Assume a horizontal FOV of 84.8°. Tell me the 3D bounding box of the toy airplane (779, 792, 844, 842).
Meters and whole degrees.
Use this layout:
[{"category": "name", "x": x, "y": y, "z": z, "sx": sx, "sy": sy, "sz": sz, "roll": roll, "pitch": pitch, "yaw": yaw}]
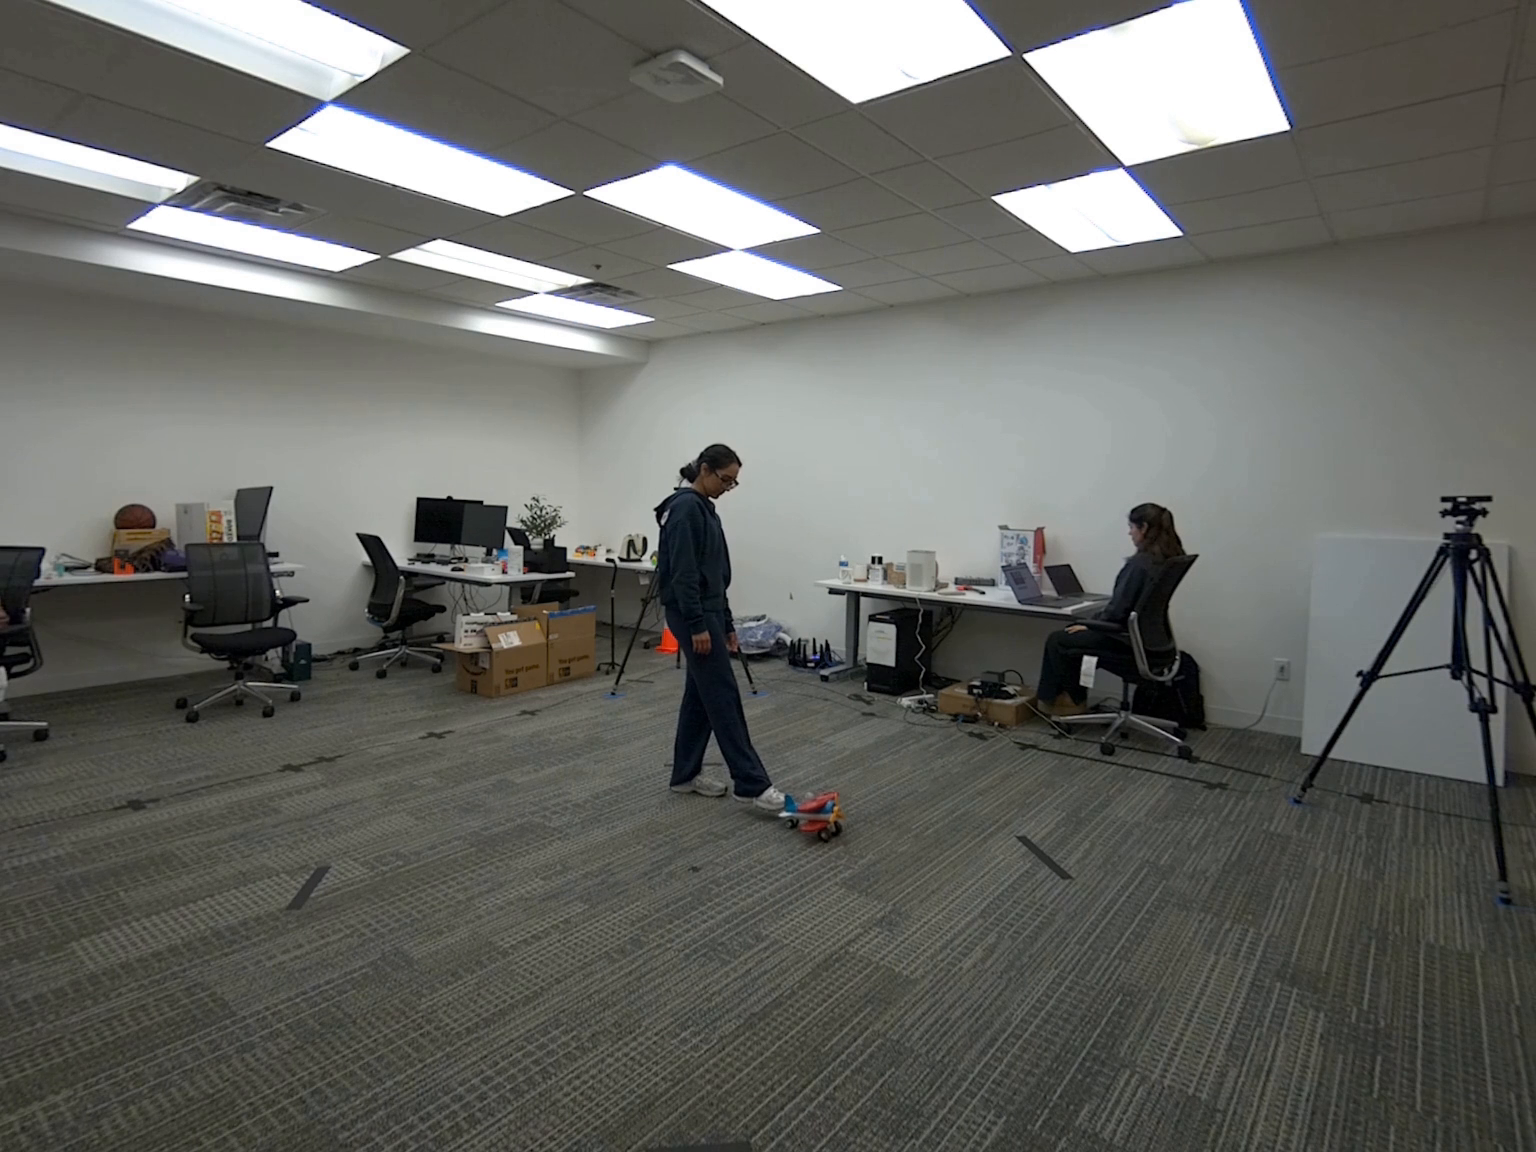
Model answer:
[{"category": "toy airplane", "x": 0.156, "y": 0.965, "z": 3.444, "sx": 0.261, "sy": 0.156, "sz": 0.250, "roll": 3, "pitch": 5, "yaw": 7}]
